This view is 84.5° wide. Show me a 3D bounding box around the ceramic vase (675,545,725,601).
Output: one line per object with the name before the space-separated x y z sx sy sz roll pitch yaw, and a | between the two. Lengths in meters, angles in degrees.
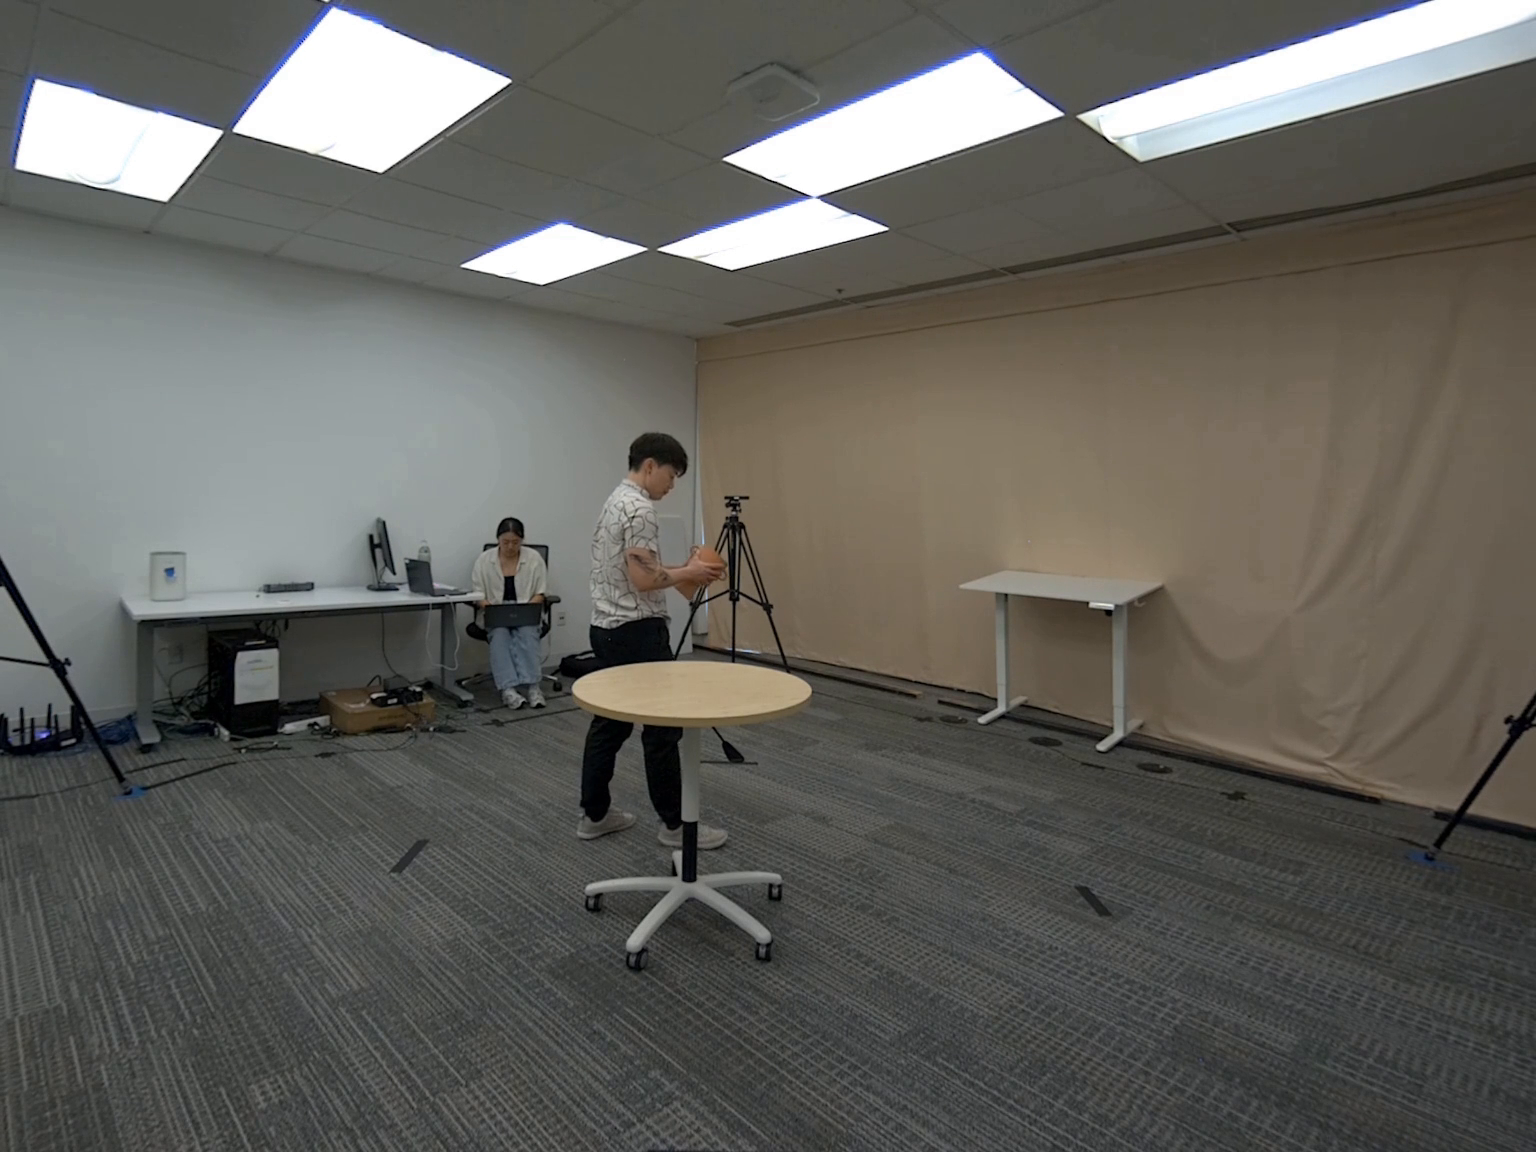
ceramic vase | -0.289 -0.010 3.476 0.163 0.220 0.131 41 -3 29
